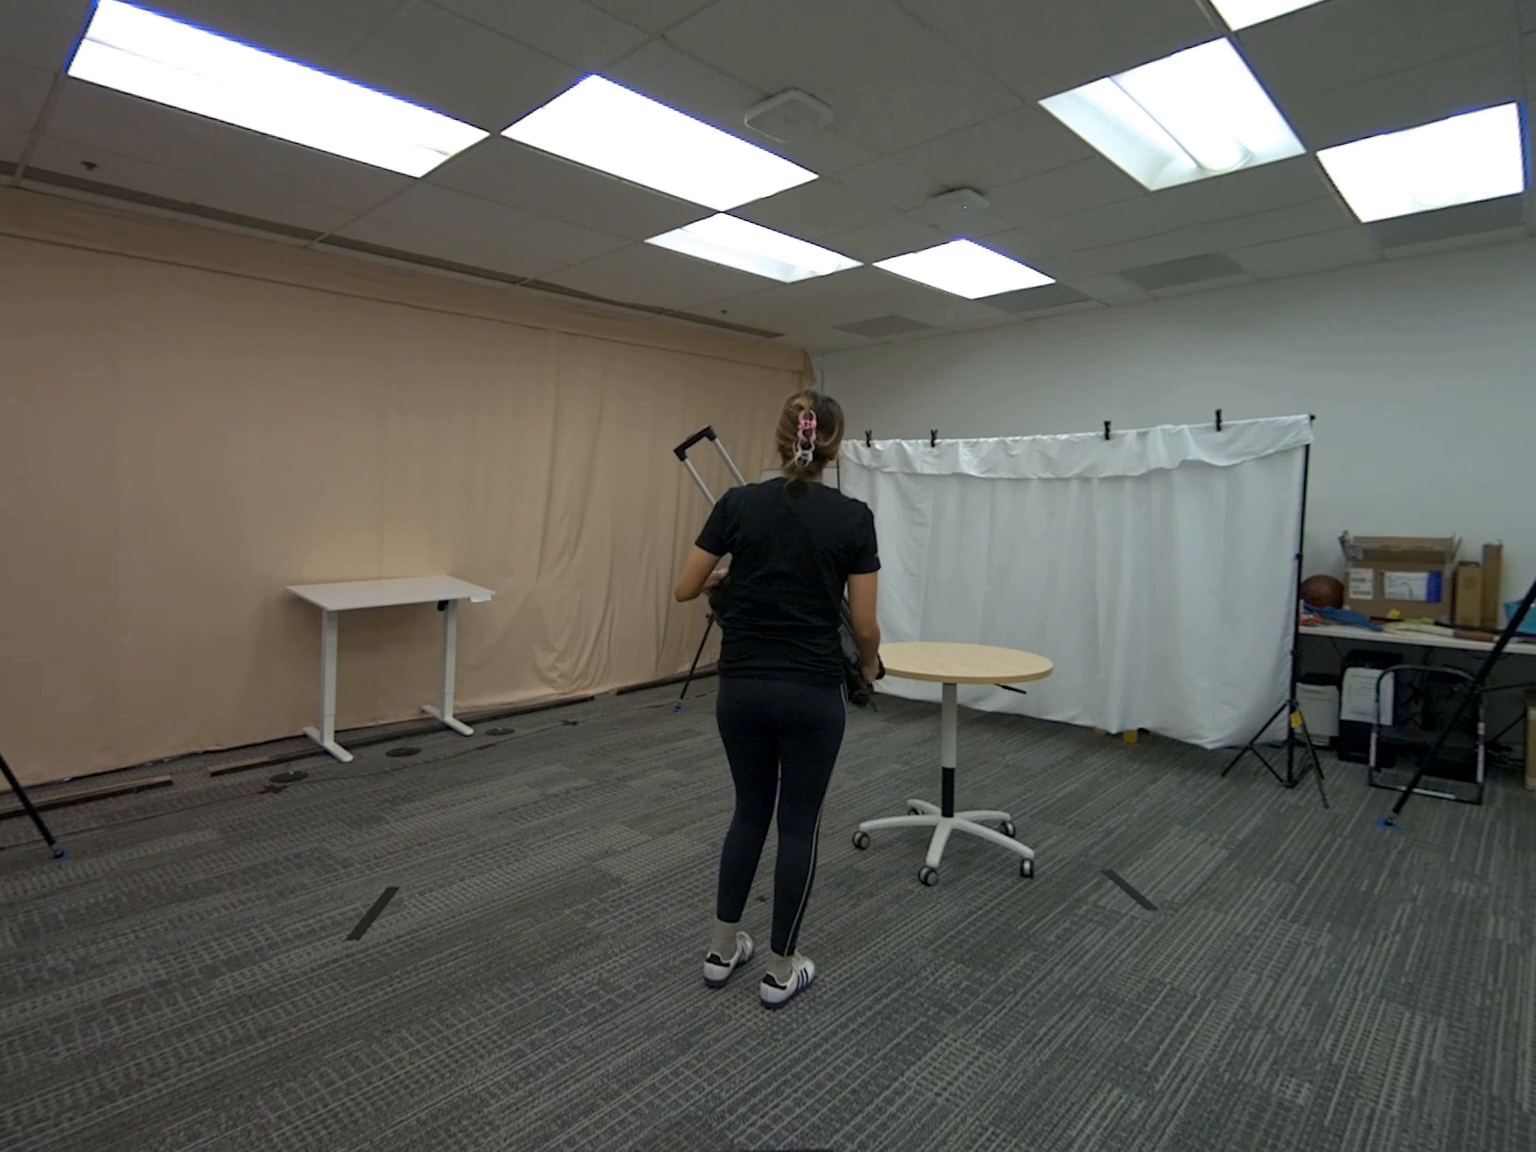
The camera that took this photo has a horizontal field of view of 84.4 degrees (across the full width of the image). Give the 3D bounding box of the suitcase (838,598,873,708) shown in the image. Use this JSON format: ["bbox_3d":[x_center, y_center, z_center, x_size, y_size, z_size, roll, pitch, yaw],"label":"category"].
[{"bbox_3d":[-0.020,-0.002,2.666,0.390,0.975,0.254,-29,4,31],"label":"suitcase"}]
